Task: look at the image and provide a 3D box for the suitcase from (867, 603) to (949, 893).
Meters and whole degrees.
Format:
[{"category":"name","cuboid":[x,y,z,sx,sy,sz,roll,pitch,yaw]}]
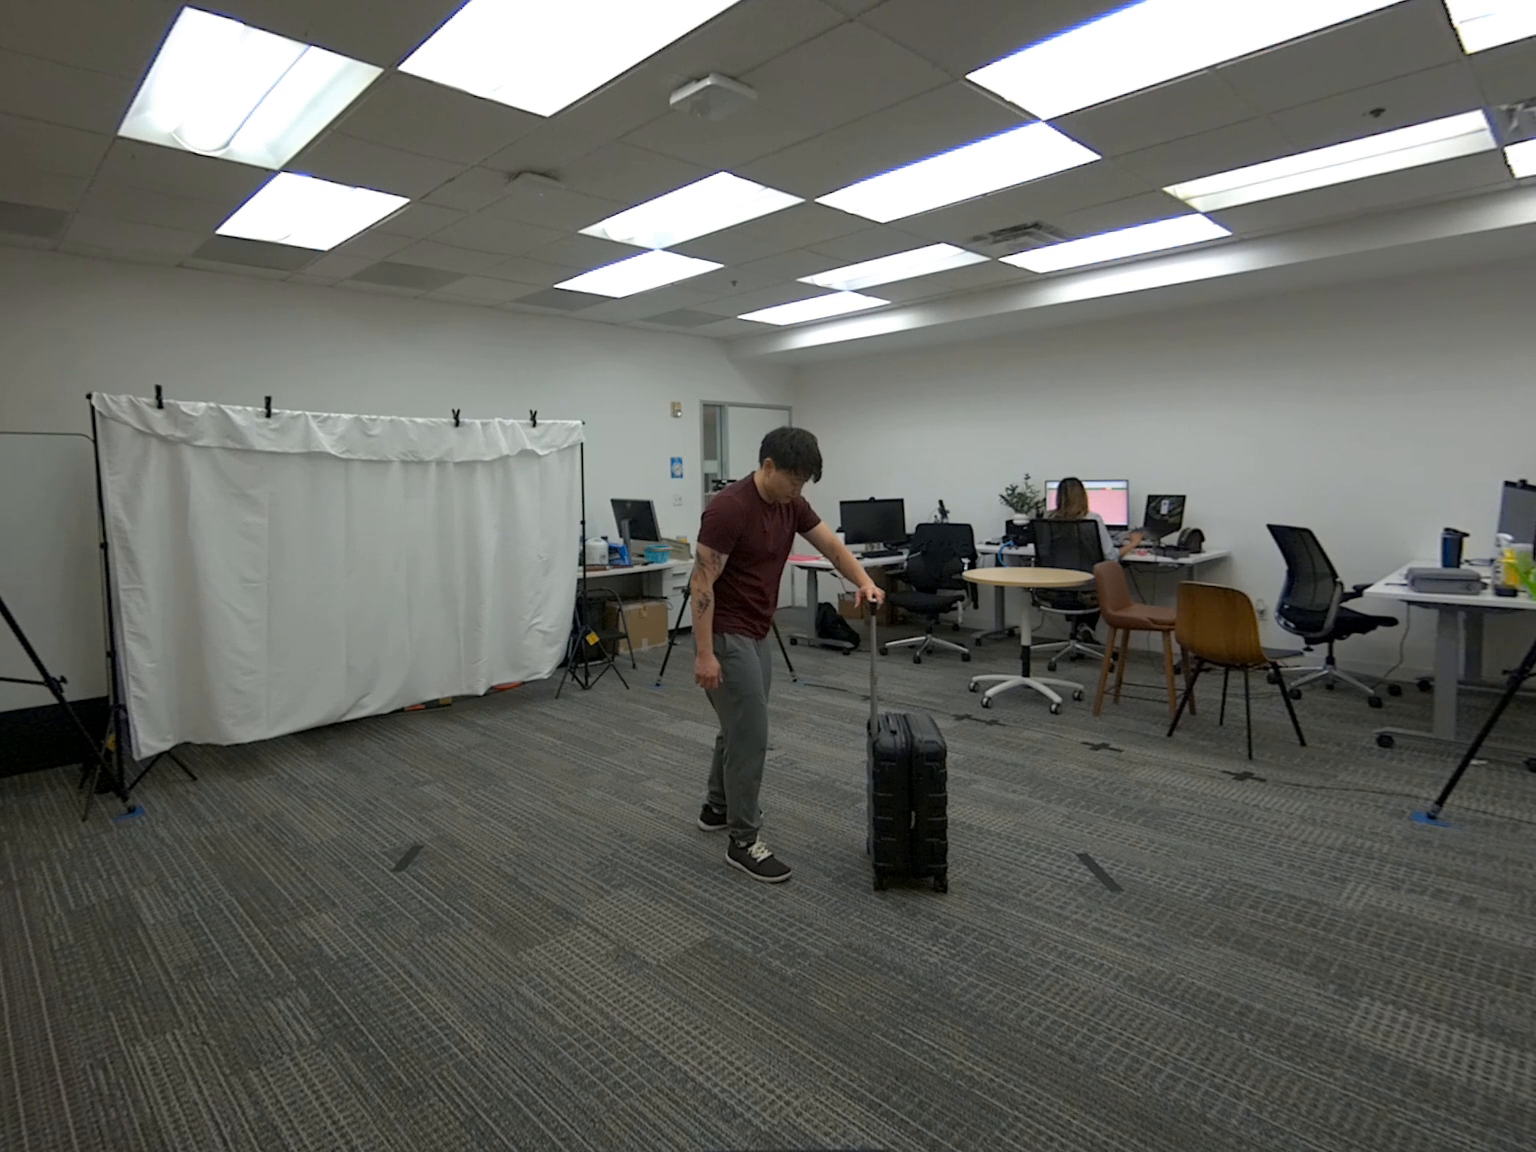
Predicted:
[{"category":"suitcase","cuboid":[0.489,0.580,2.979,0.258,0.973,0.385,3,6,2]}]
